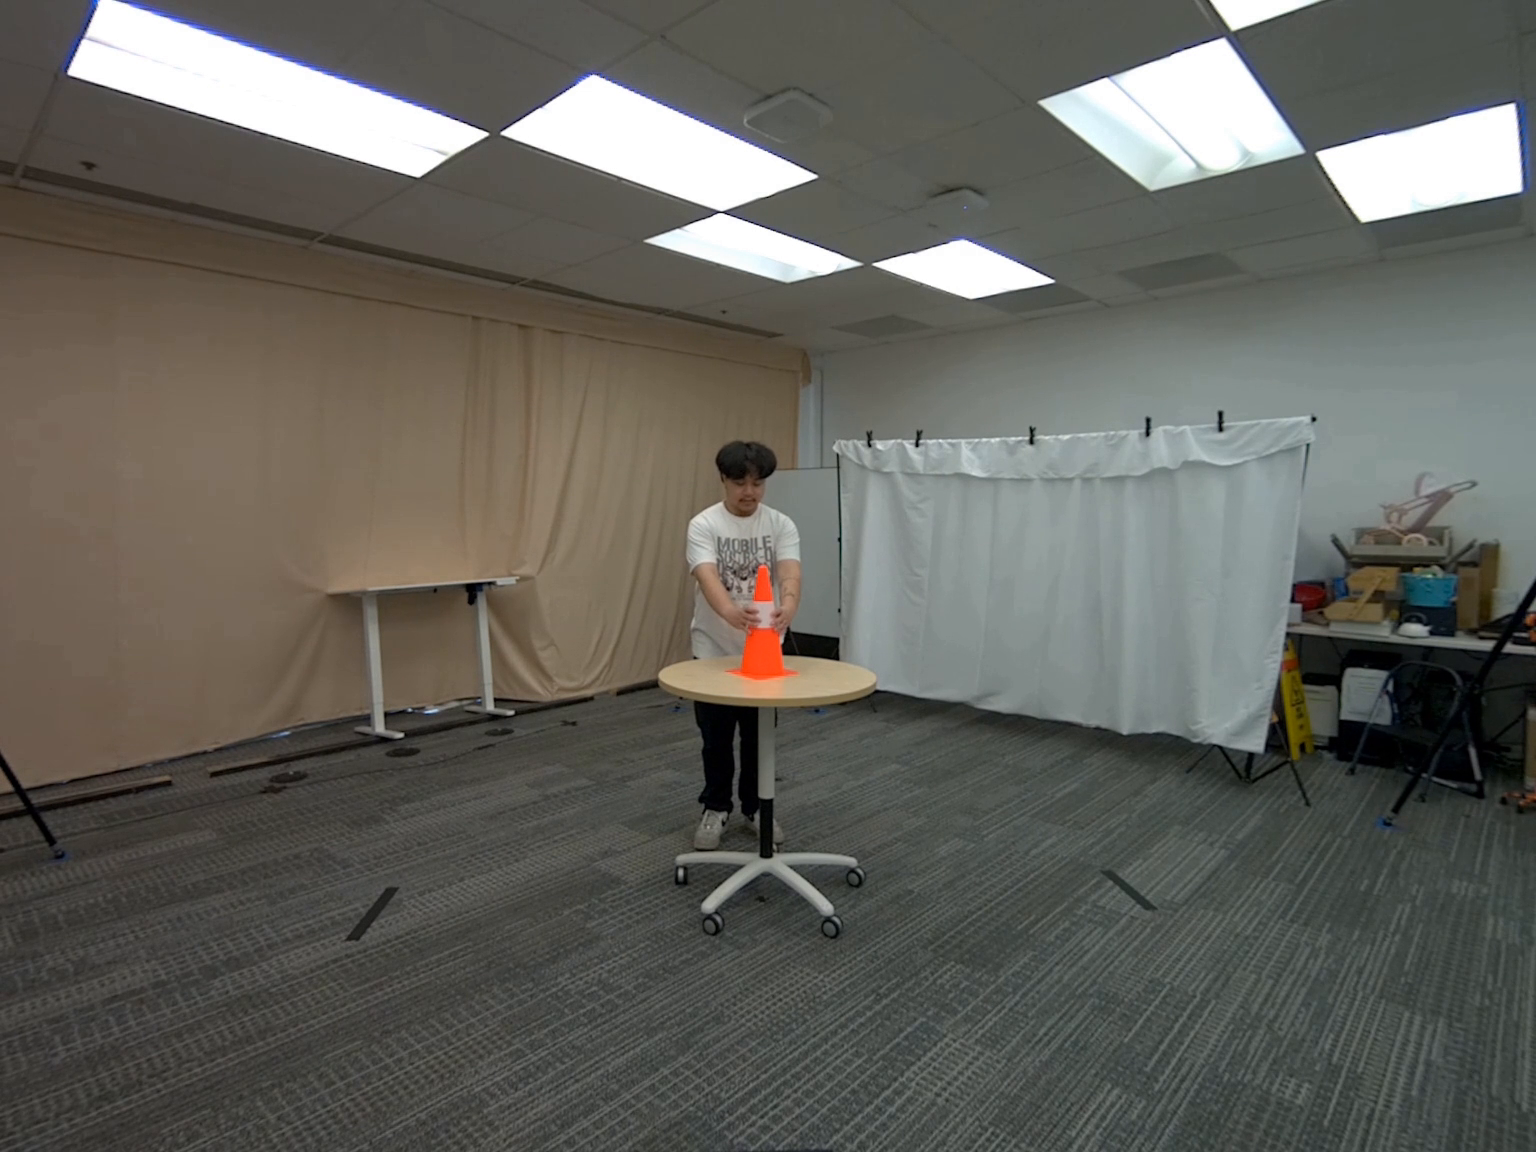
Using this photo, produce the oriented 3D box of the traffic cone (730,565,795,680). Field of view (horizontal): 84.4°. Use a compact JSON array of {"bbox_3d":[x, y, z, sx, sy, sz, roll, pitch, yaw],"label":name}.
[{"bbox_3d":[-0.016,0.158,3.003,0.212,0.383,0.197,4,5,40],"label":"traffic cone"}]
